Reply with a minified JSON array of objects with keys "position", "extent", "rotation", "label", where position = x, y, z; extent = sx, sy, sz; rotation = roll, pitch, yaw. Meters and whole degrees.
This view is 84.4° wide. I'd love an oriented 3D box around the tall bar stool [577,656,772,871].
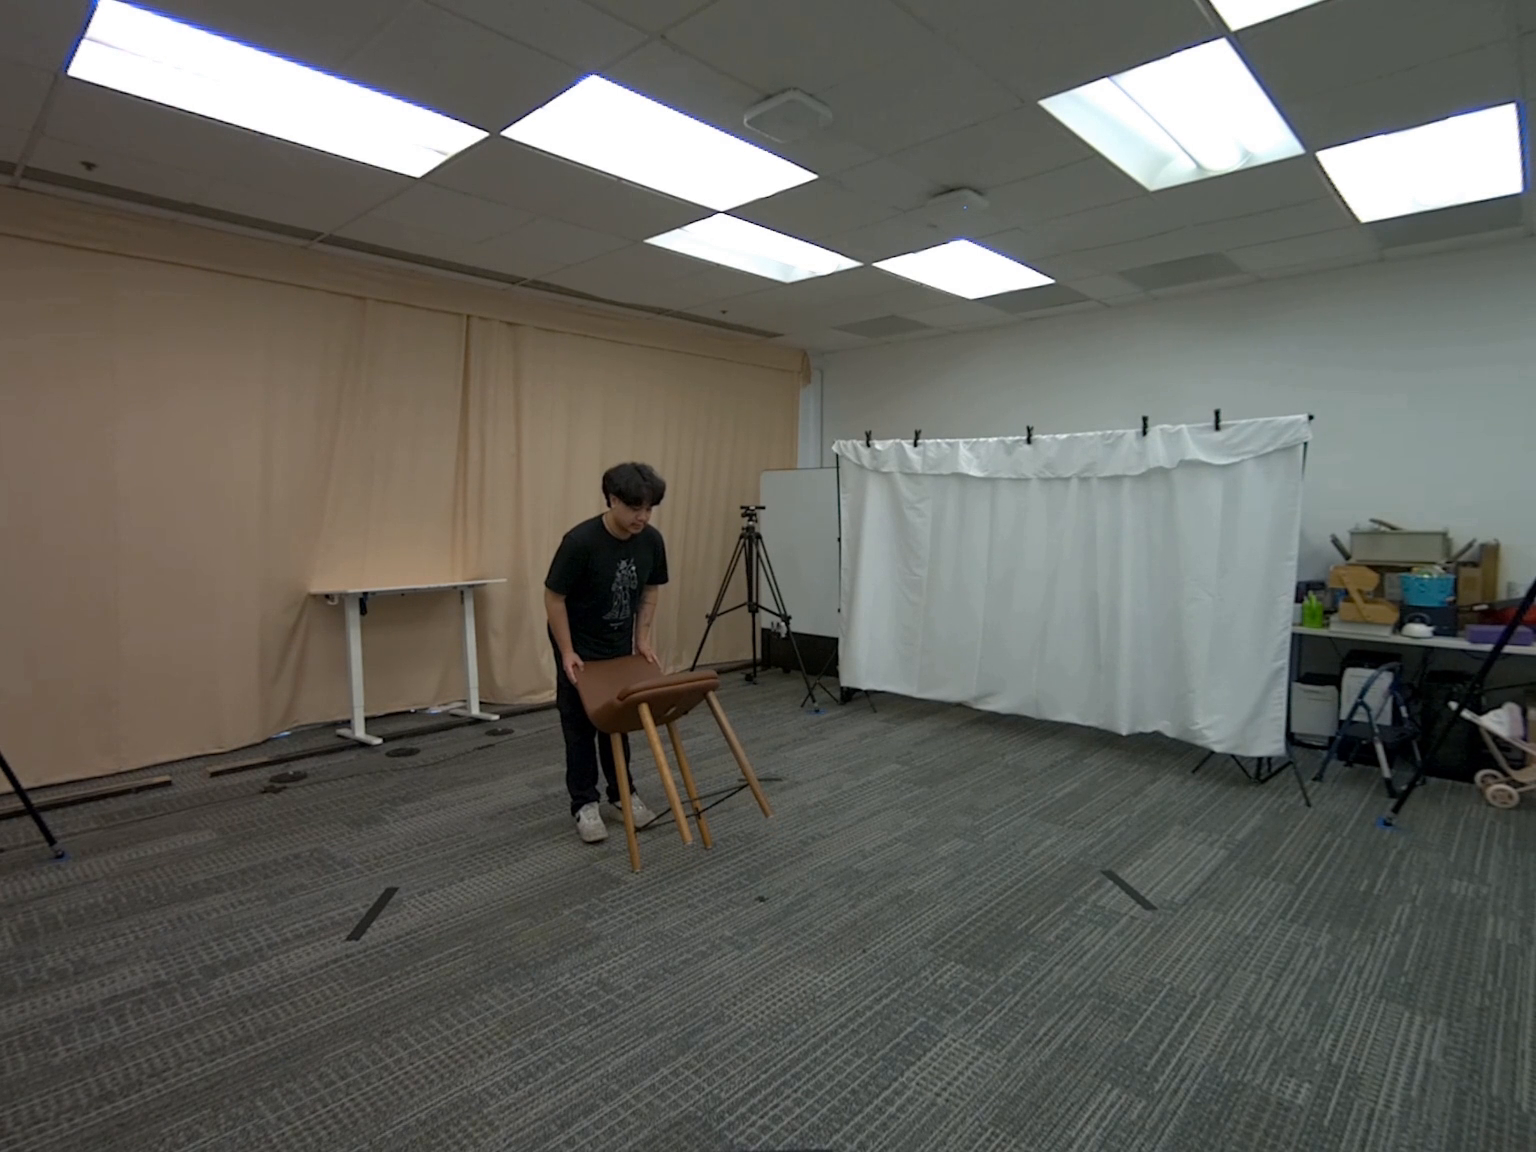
[{"position":[-0.410,0.634,3.338],"extent":[0.443,0.909,0.472],"rotation":[-4,-29,-39],"label":"tall bar stool"}]
